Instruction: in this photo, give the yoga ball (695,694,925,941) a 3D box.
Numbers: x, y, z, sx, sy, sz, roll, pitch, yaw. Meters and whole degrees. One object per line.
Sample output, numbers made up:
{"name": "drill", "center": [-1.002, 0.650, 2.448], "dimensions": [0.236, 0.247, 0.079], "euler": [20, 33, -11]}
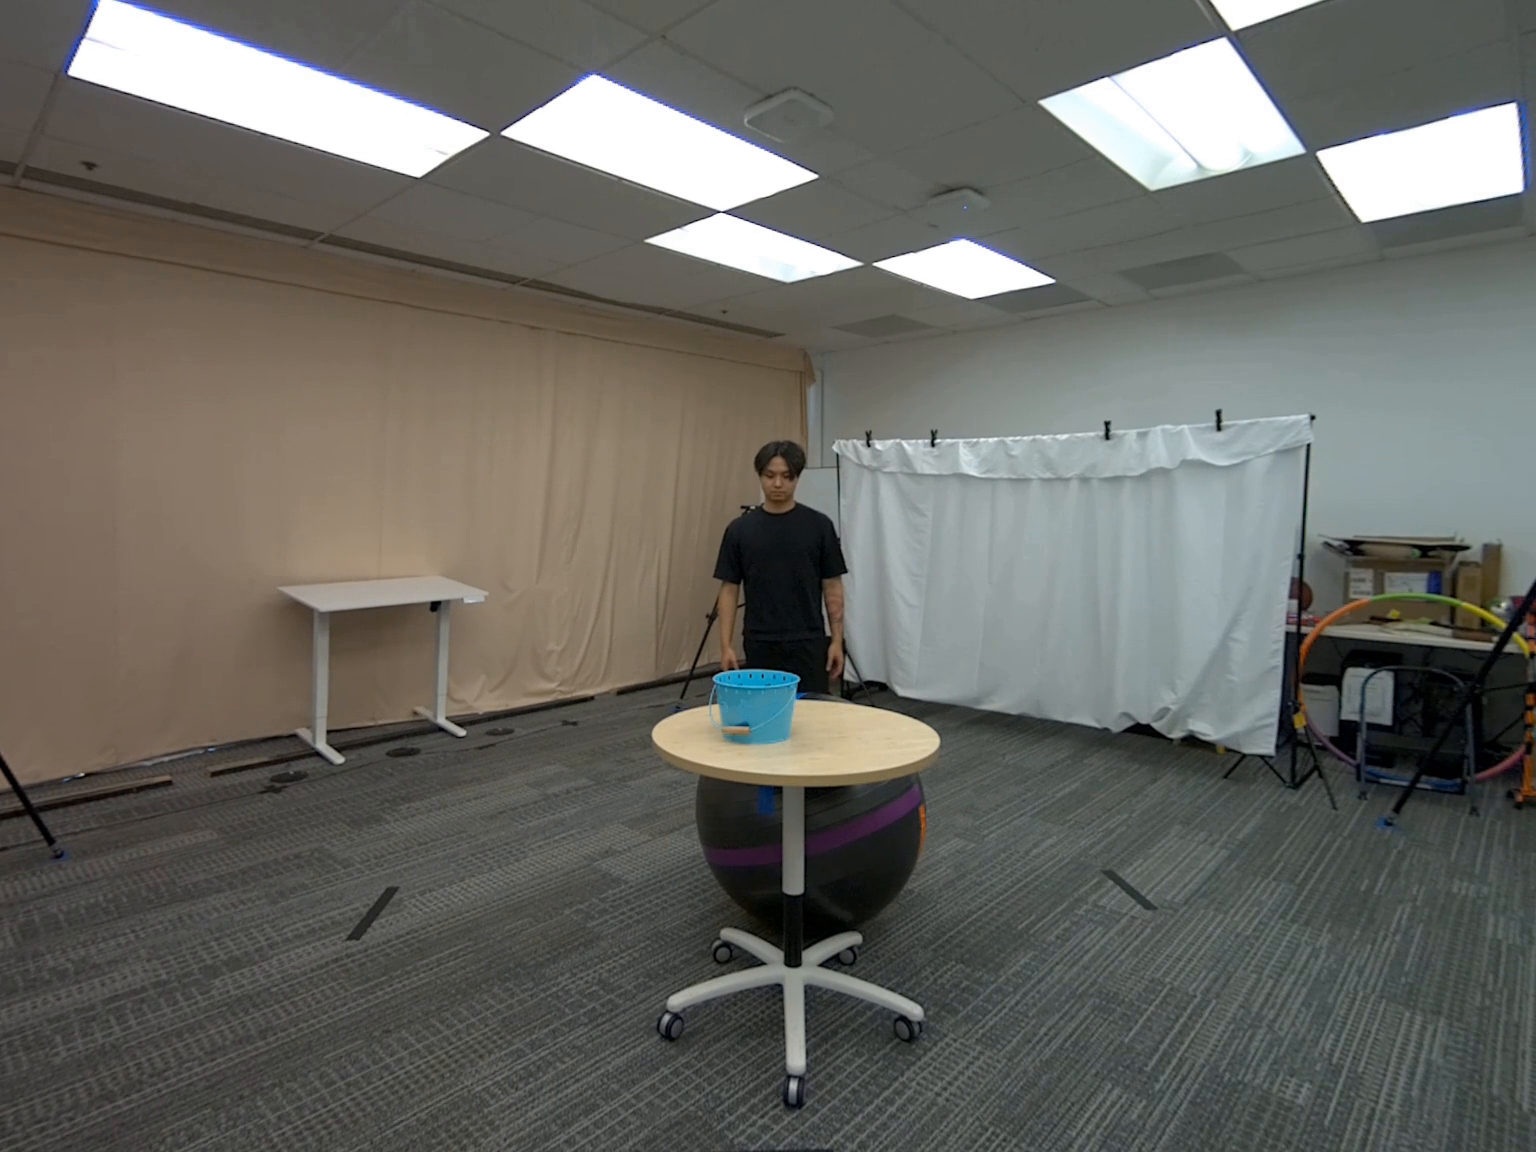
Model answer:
{"name": "yoga ball", "center": [0.142, 0.783, 2.814], "dimensions": [0.757, 0.756, 0.760], "euler": [0, 4, -2]}
